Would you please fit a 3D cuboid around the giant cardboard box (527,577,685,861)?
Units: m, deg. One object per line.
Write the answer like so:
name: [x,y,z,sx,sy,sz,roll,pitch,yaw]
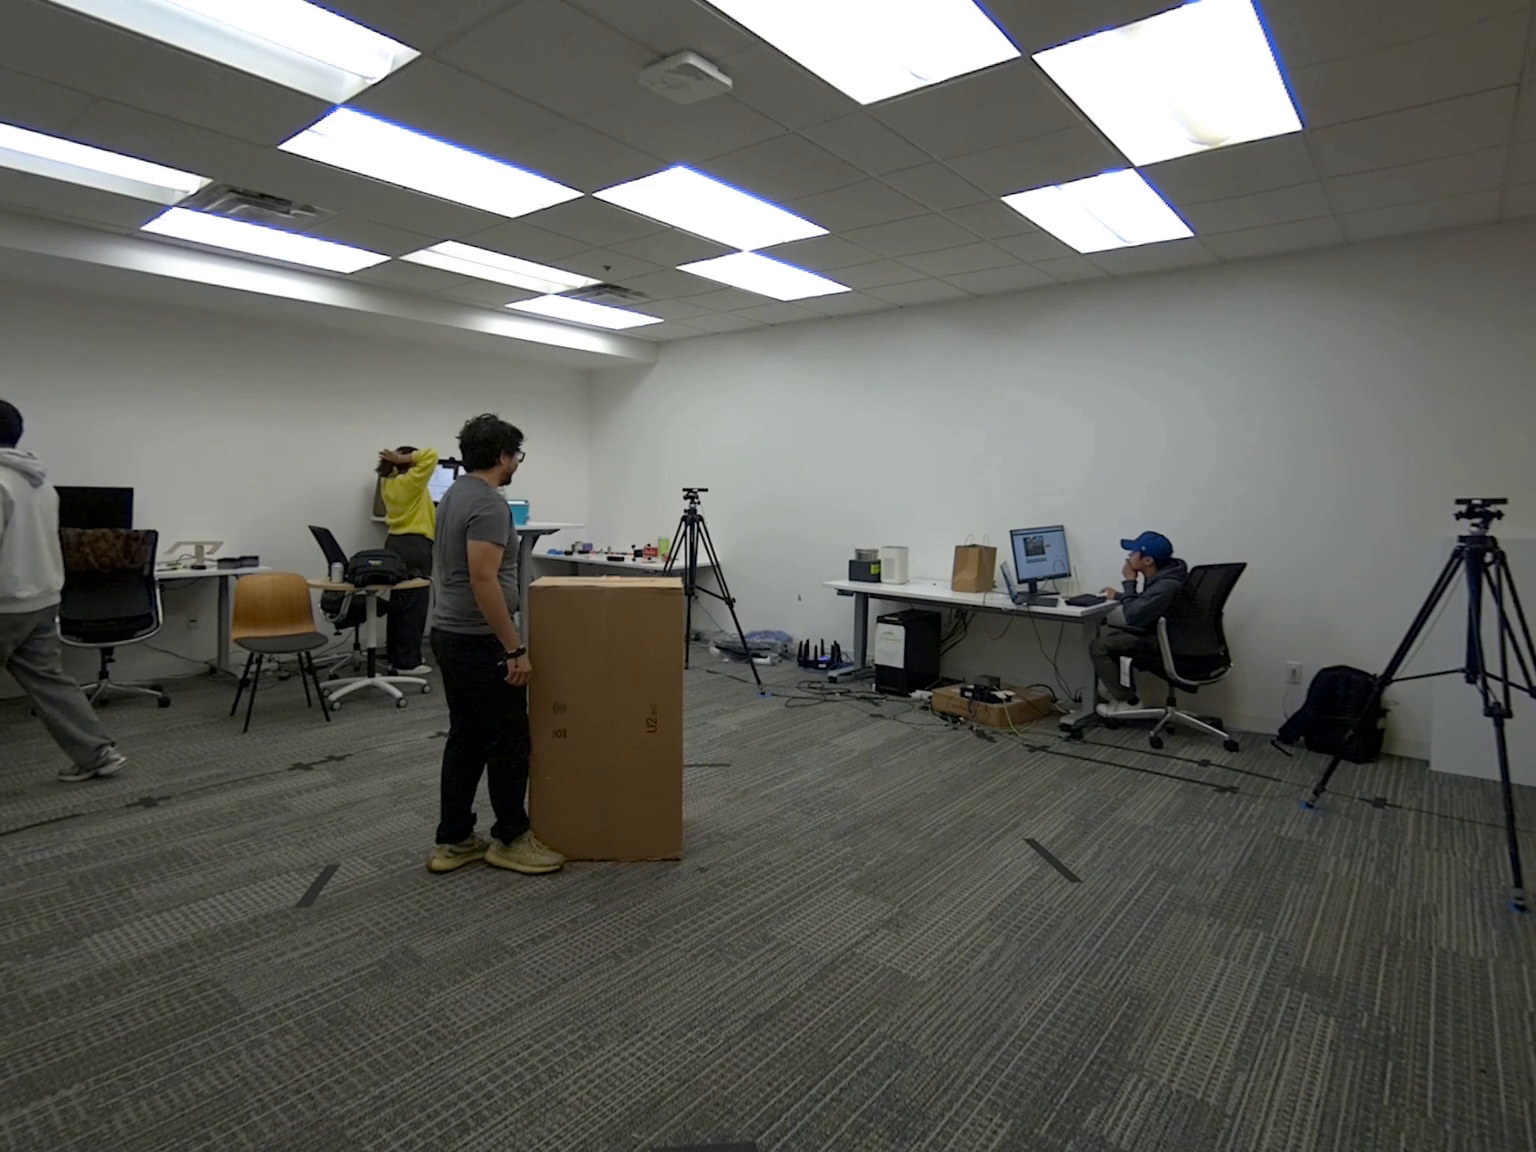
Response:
giant cardboard box: [-0.634,0.535,3.355,0.581,1.024,0.450,0,3,-5]
